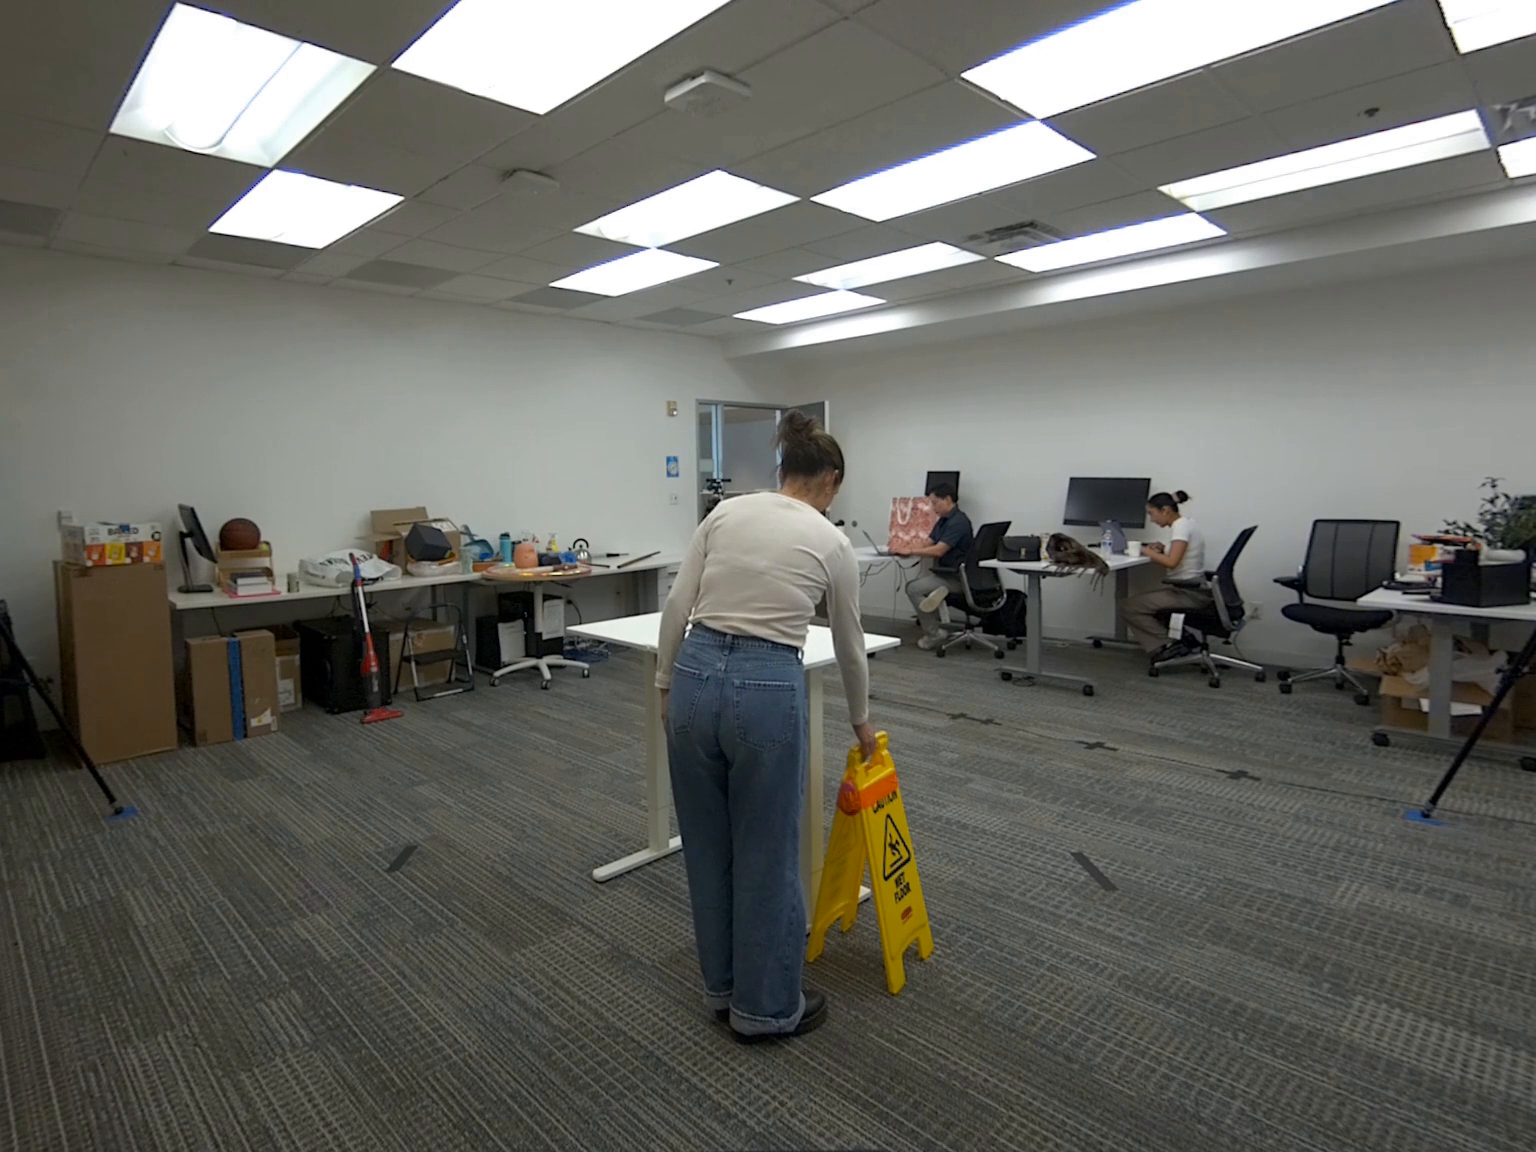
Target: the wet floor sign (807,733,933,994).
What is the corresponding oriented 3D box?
[{"bbox_3d":[0.300,0.789,2.468,0.298,0.643,0.275,2,6,36],"label":"wet floor sign"}]
